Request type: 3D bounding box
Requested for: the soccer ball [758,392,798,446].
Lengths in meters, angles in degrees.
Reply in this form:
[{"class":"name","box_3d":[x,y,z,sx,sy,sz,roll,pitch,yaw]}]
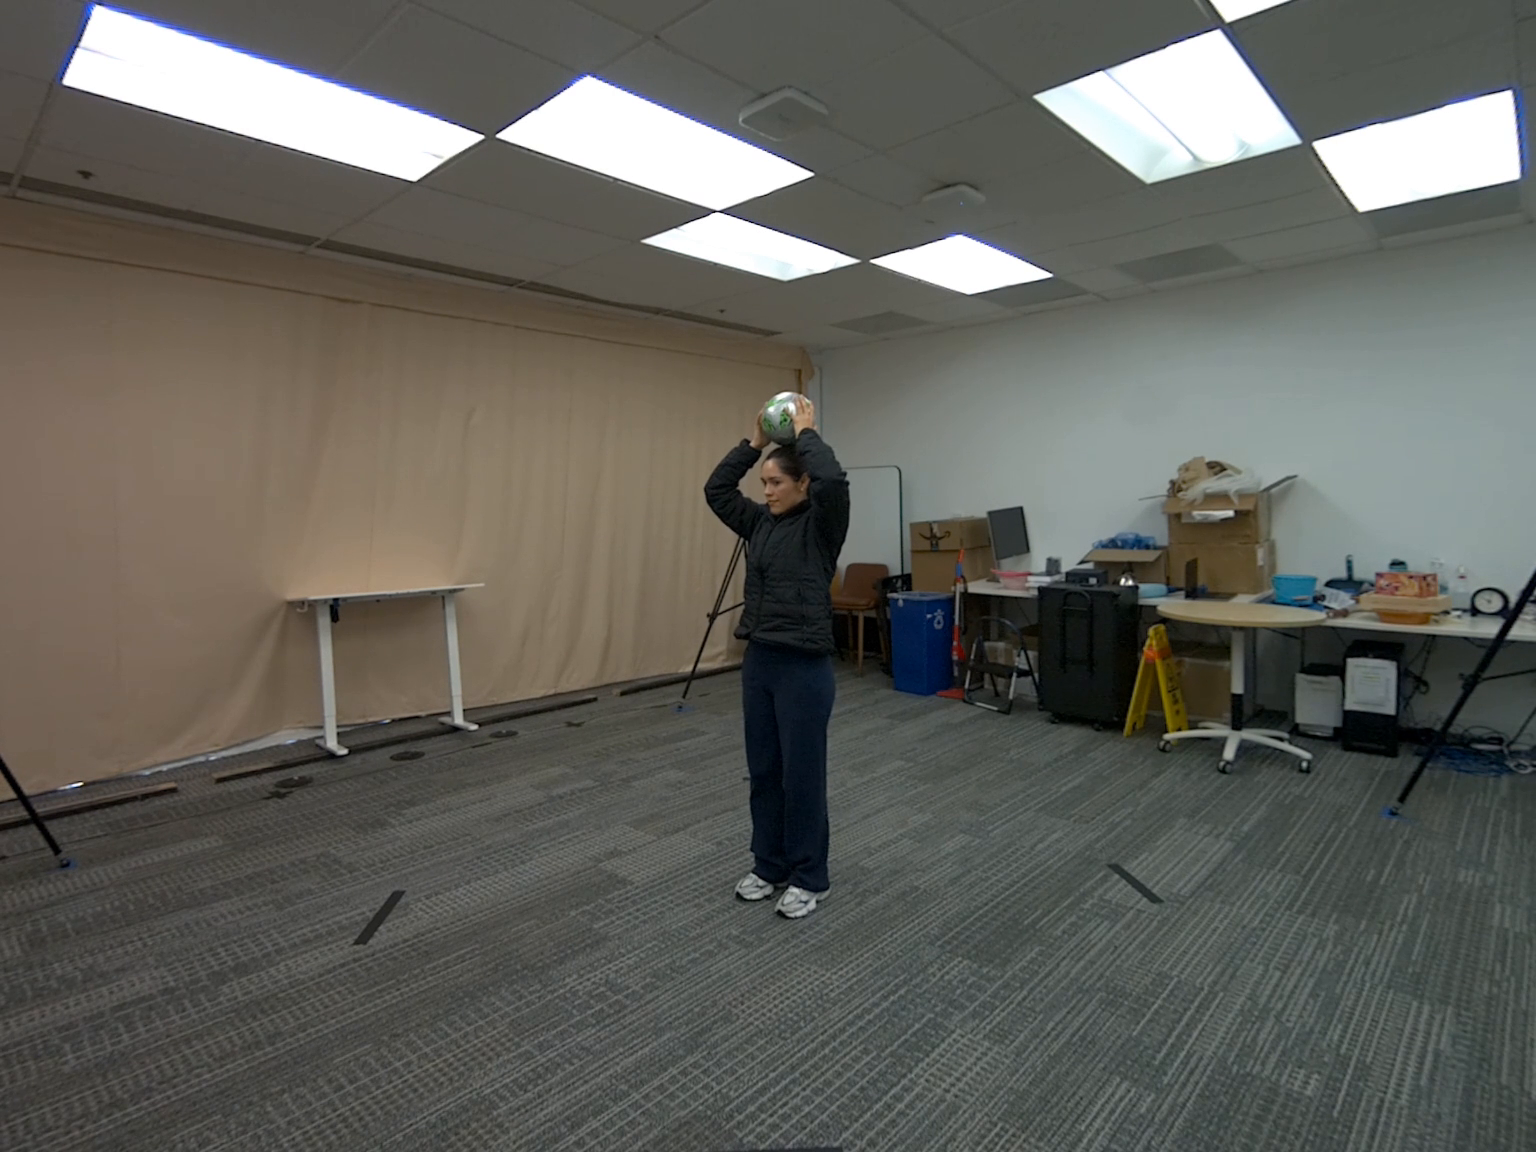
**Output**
[{"class":"soccer ball","box_3d":[0.069,-0.544,2.927,0.187,0.187,0.188,-1,4,-2]}]
